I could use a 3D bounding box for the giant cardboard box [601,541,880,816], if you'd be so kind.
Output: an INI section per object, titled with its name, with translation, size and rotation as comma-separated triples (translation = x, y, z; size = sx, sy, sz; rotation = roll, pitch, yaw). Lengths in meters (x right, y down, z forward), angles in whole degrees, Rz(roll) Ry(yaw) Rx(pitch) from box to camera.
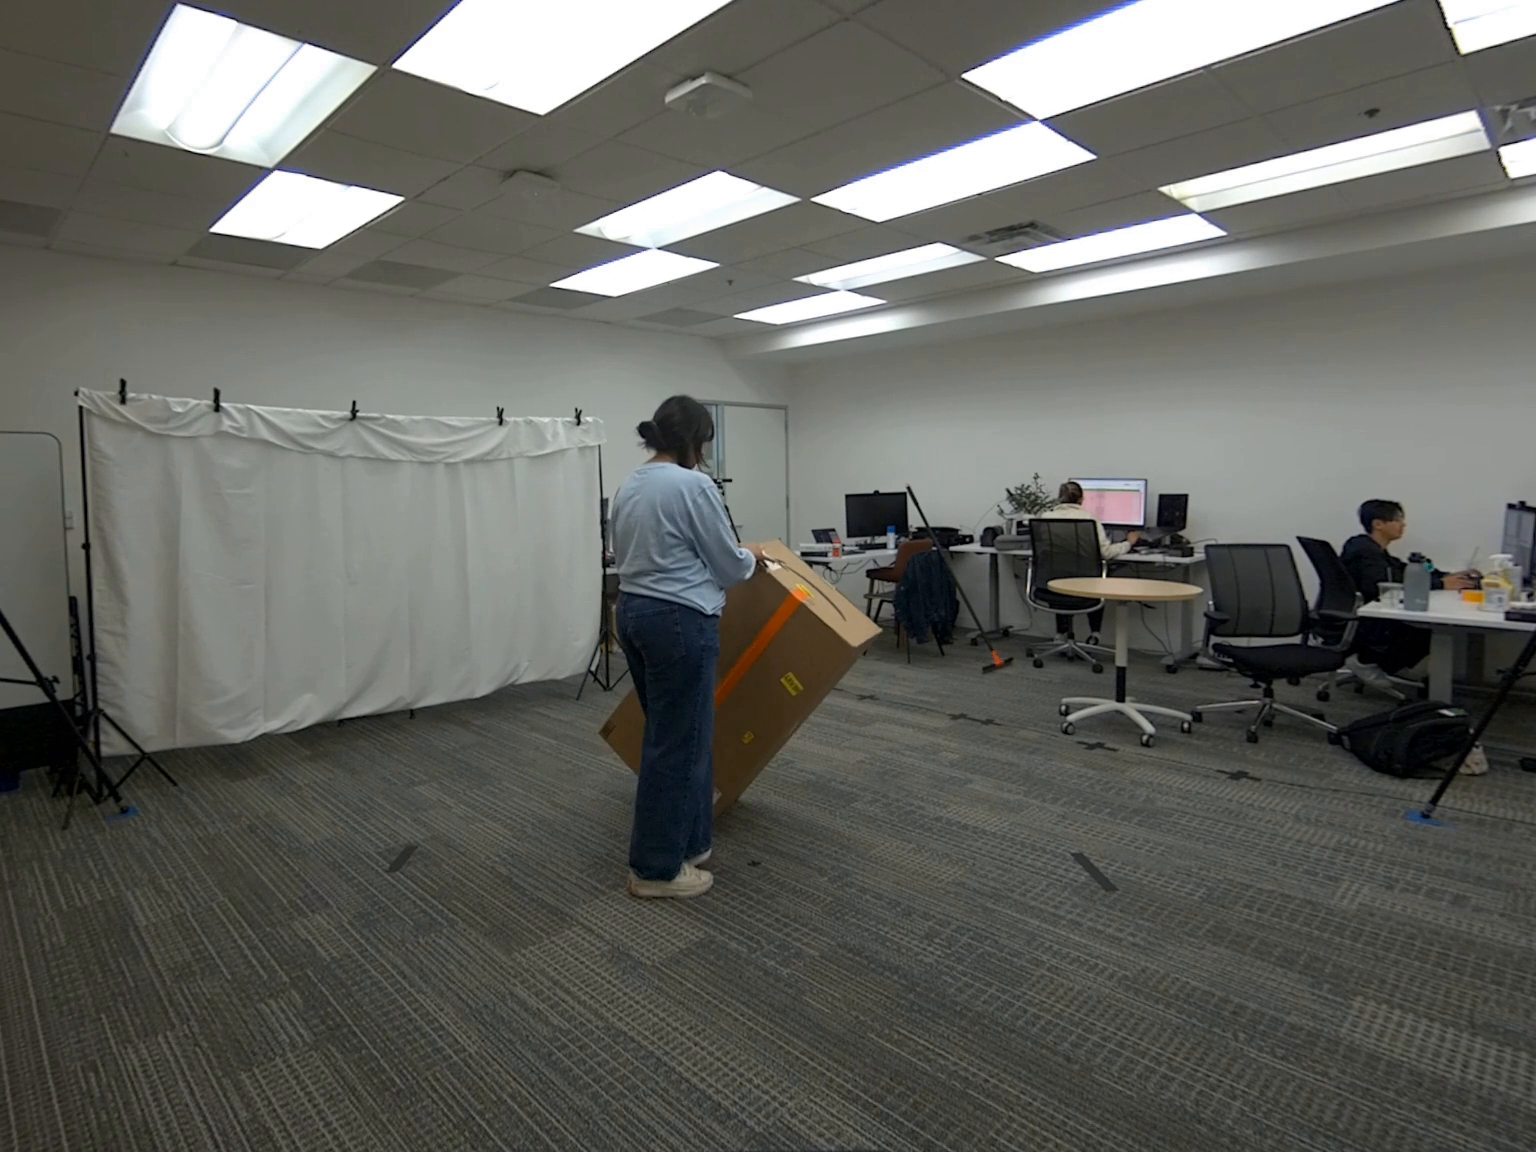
[giant cardboard box]
translation = -0.112, 0.434, 3.476
size = 0.597, 1.024, 0.438
rotation = 43, 19, 16
